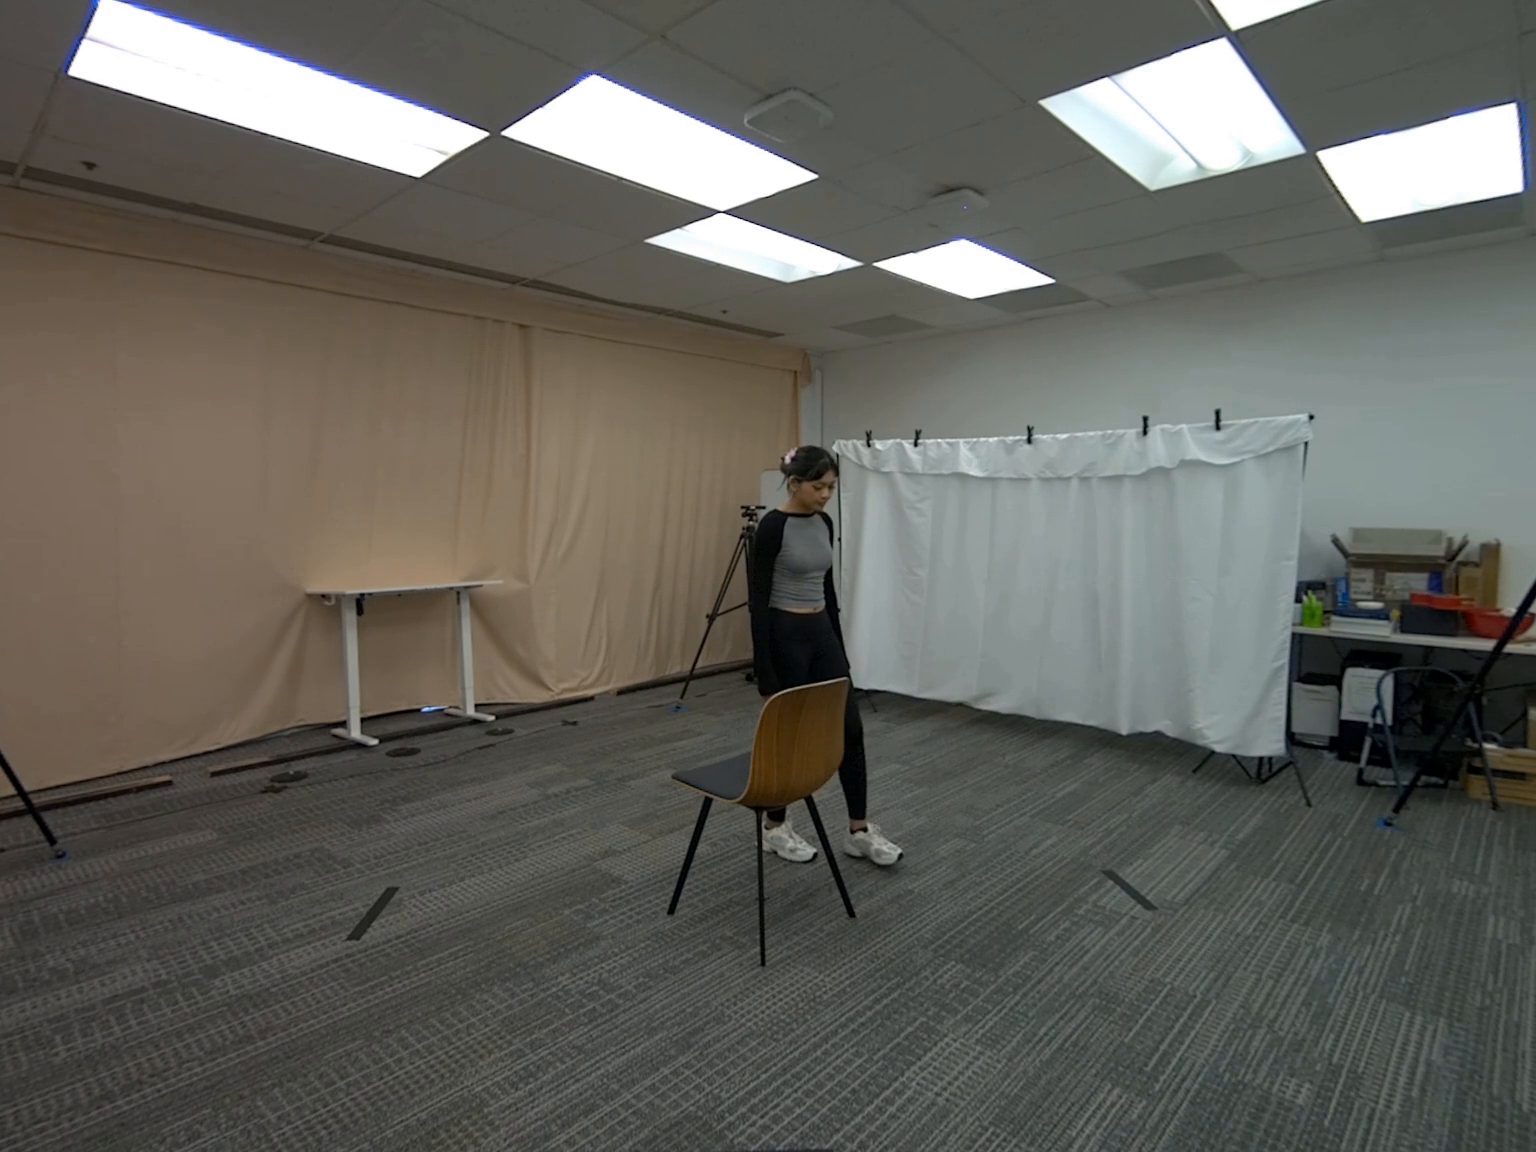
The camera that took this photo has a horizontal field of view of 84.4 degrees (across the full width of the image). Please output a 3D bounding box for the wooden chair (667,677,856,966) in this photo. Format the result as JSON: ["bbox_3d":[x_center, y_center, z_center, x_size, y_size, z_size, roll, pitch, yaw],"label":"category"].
[{"bbox_3d":[-0.032,0.728,2.833,0.463,0.874,0.541,-4,9,-44],"label":"wooden chair"}]
